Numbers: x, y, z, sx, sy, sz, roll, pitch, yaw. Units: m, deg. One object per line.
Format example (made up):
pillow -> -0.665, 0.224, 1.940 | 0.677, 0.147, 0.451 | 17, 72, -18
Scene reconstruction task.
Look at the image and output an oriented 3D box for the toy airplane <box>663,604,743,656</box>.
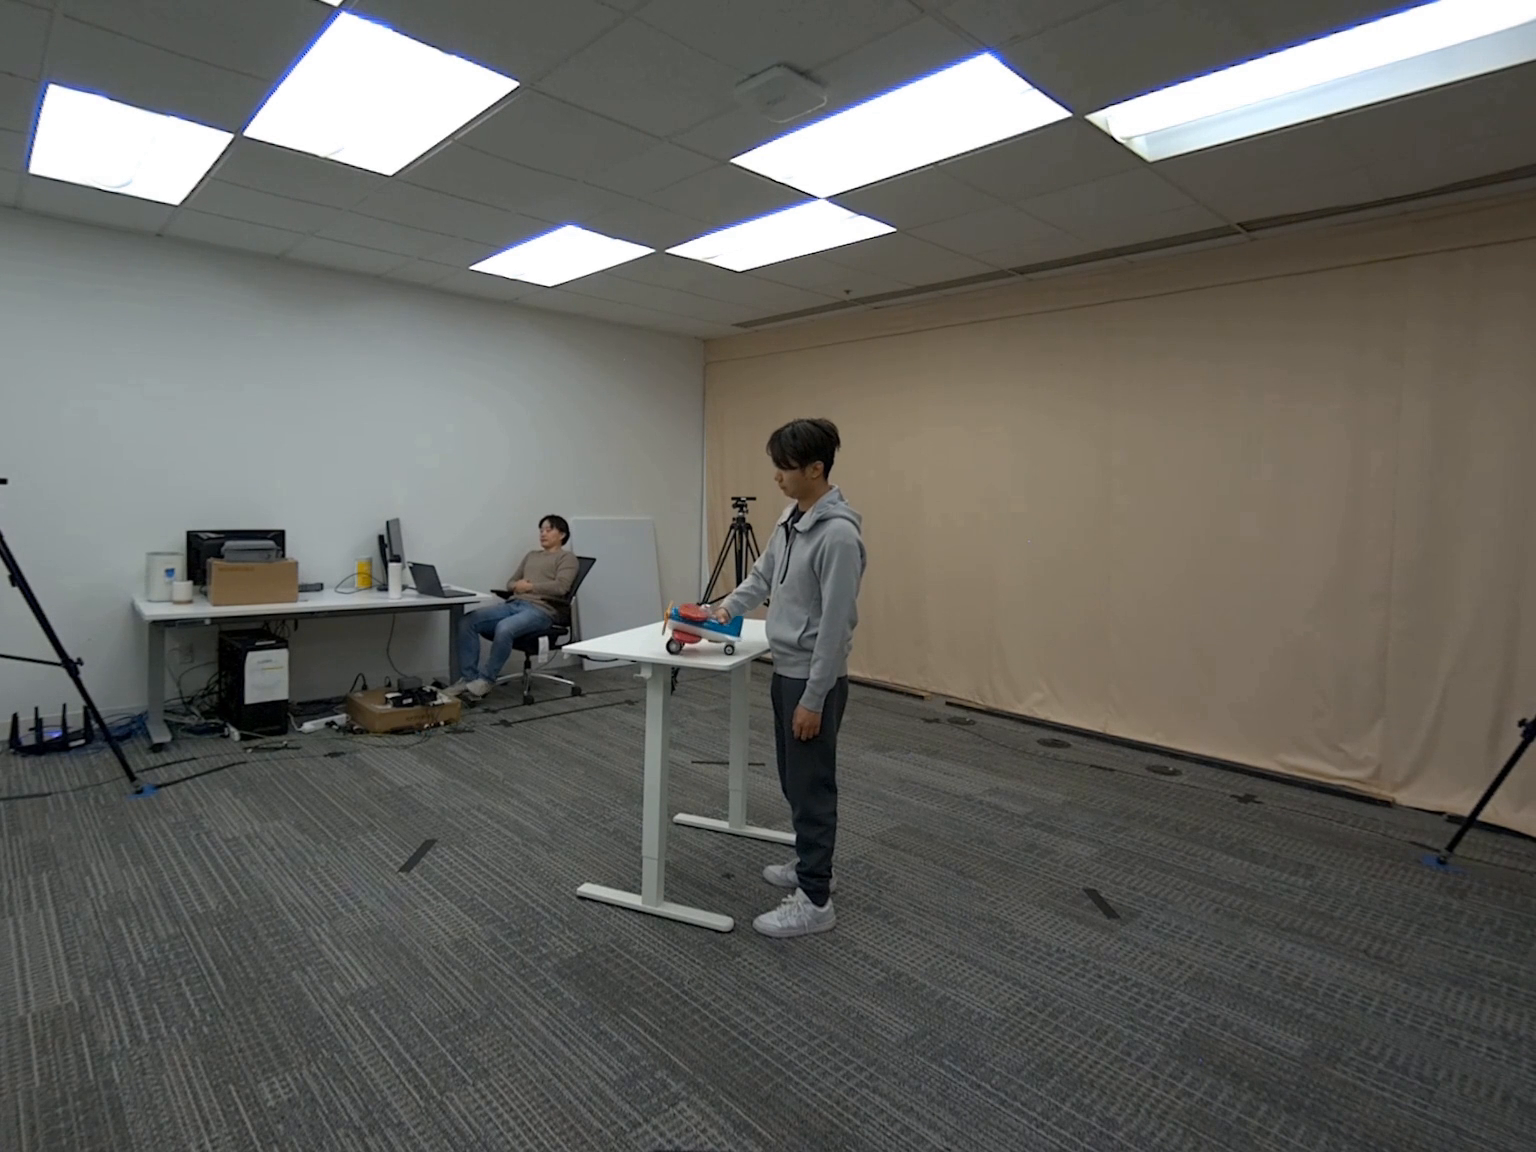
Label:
toy airplane -> -0.219, 0.170, 2.773 | 0.254, 0.156, 0.256 | -3, 6, -27
